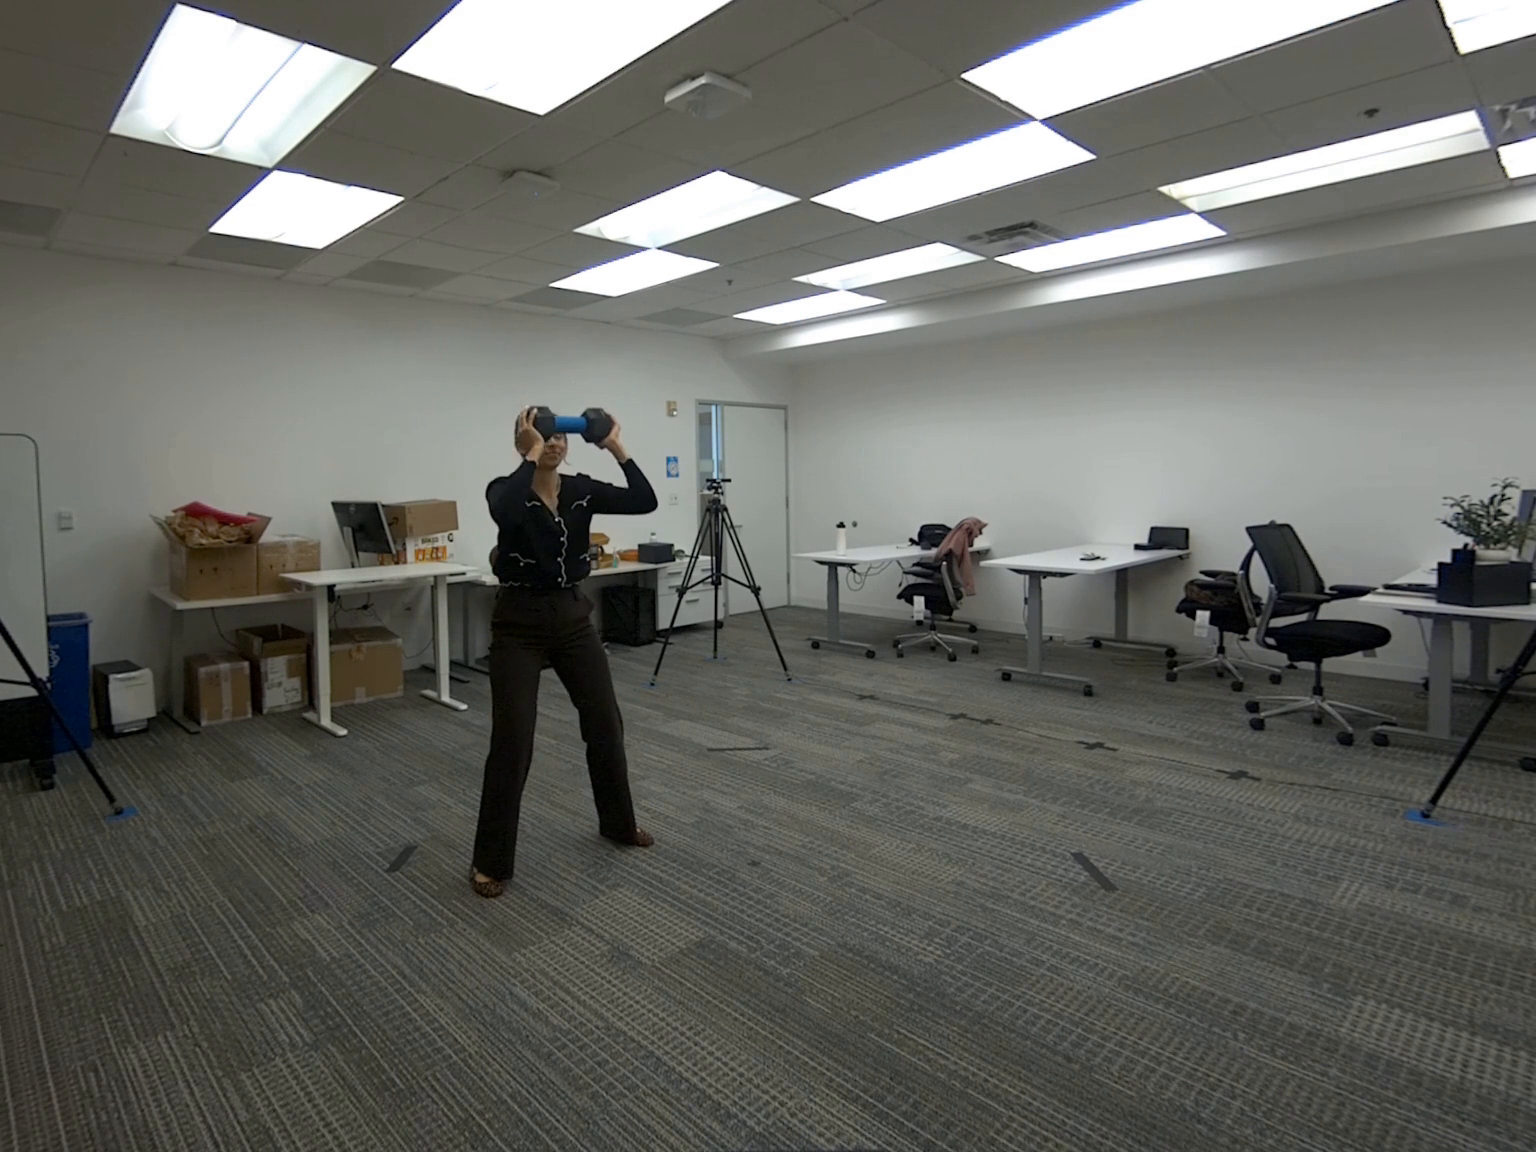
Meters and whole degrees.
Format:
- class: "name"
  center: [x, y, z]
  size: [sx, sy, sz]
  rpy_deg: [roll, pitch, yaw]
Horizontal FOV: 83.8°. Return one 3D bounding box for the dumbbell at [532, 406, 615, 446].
- class: "dumbbell"
  center: [-0.690, -0.511, 2.923]
  size: [0.286, 0.107, 0.128]
  rpy_deg: [-7, 43, -37]
